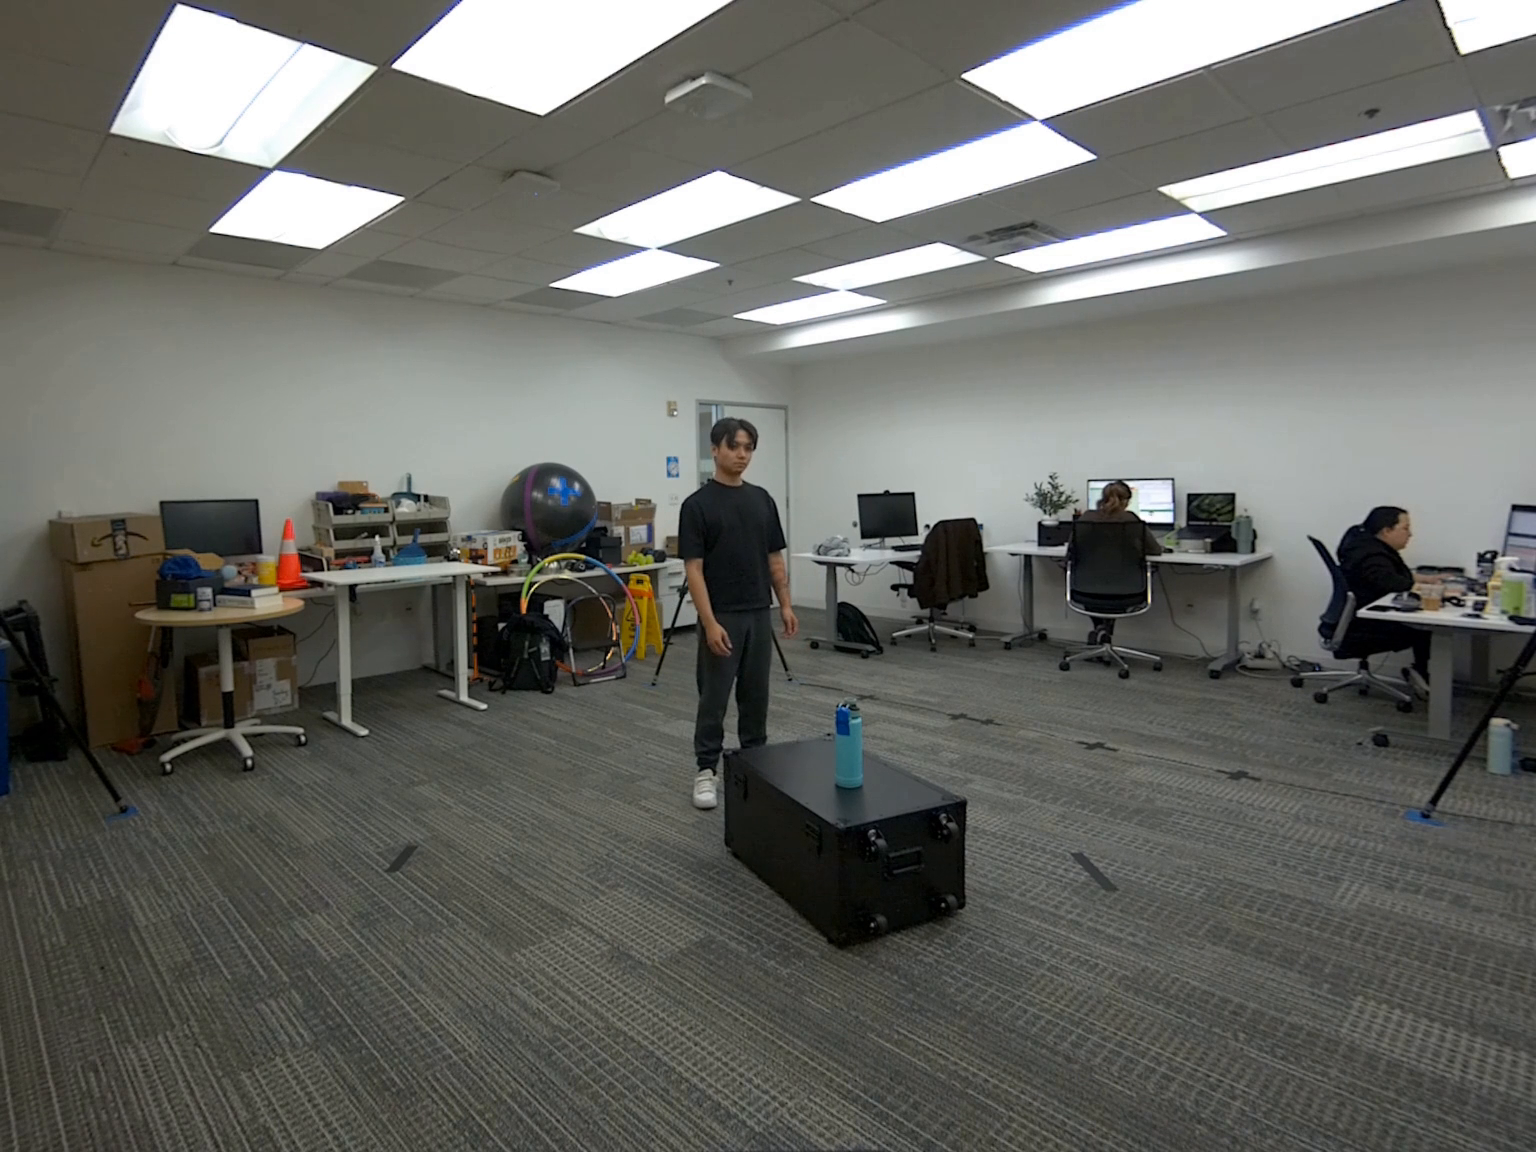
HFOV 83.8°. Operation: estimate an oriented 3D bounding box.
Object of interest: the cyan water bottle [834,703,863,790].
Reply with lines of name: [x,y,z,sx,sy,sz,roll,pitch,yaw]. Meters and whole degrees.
cyan water bottle: [0.269,0.558,2.852,0.092,0.282,0.093,-2,5,-2]
